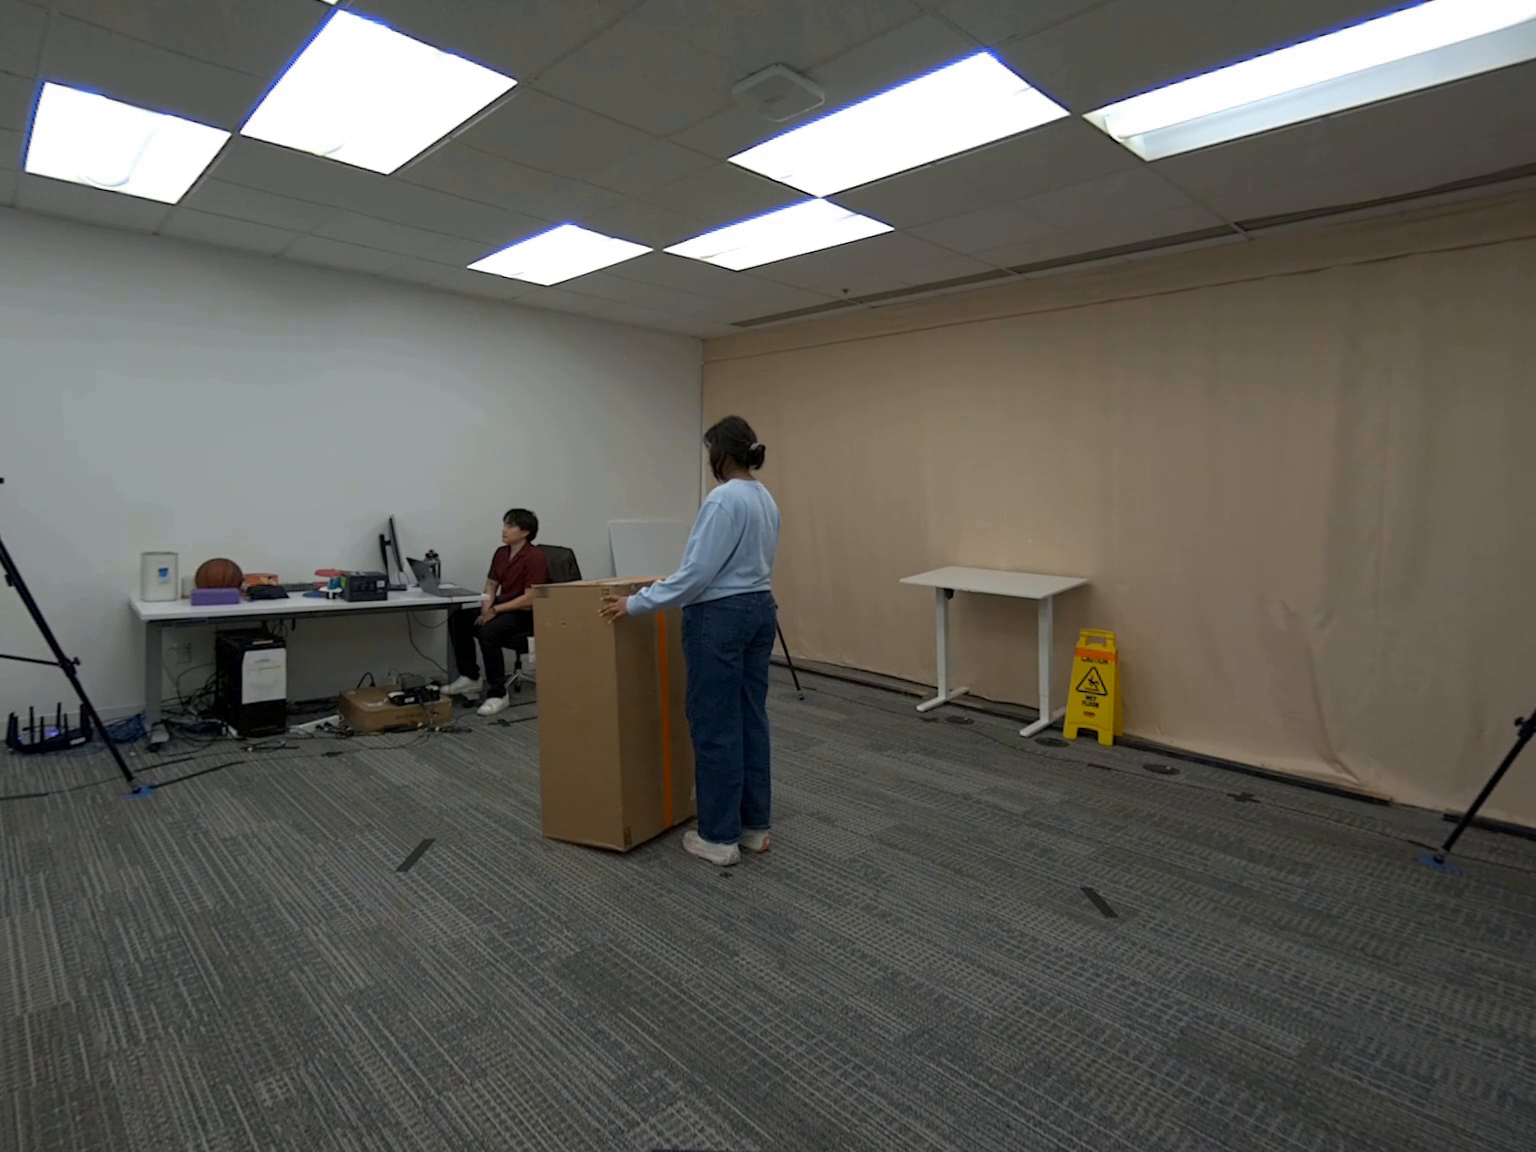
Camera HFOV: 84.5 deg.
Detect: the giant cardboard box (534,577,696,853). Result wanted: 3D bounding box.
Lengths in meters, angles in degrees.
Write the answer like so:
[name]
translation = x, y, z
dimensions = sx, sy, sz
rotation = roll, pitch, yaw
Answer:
[giant cardboard box]
translation = -0.627, 0.533, 3.558
dimensions = 0.456, 1.027, 0.572
rotation = -2, 1, 31
